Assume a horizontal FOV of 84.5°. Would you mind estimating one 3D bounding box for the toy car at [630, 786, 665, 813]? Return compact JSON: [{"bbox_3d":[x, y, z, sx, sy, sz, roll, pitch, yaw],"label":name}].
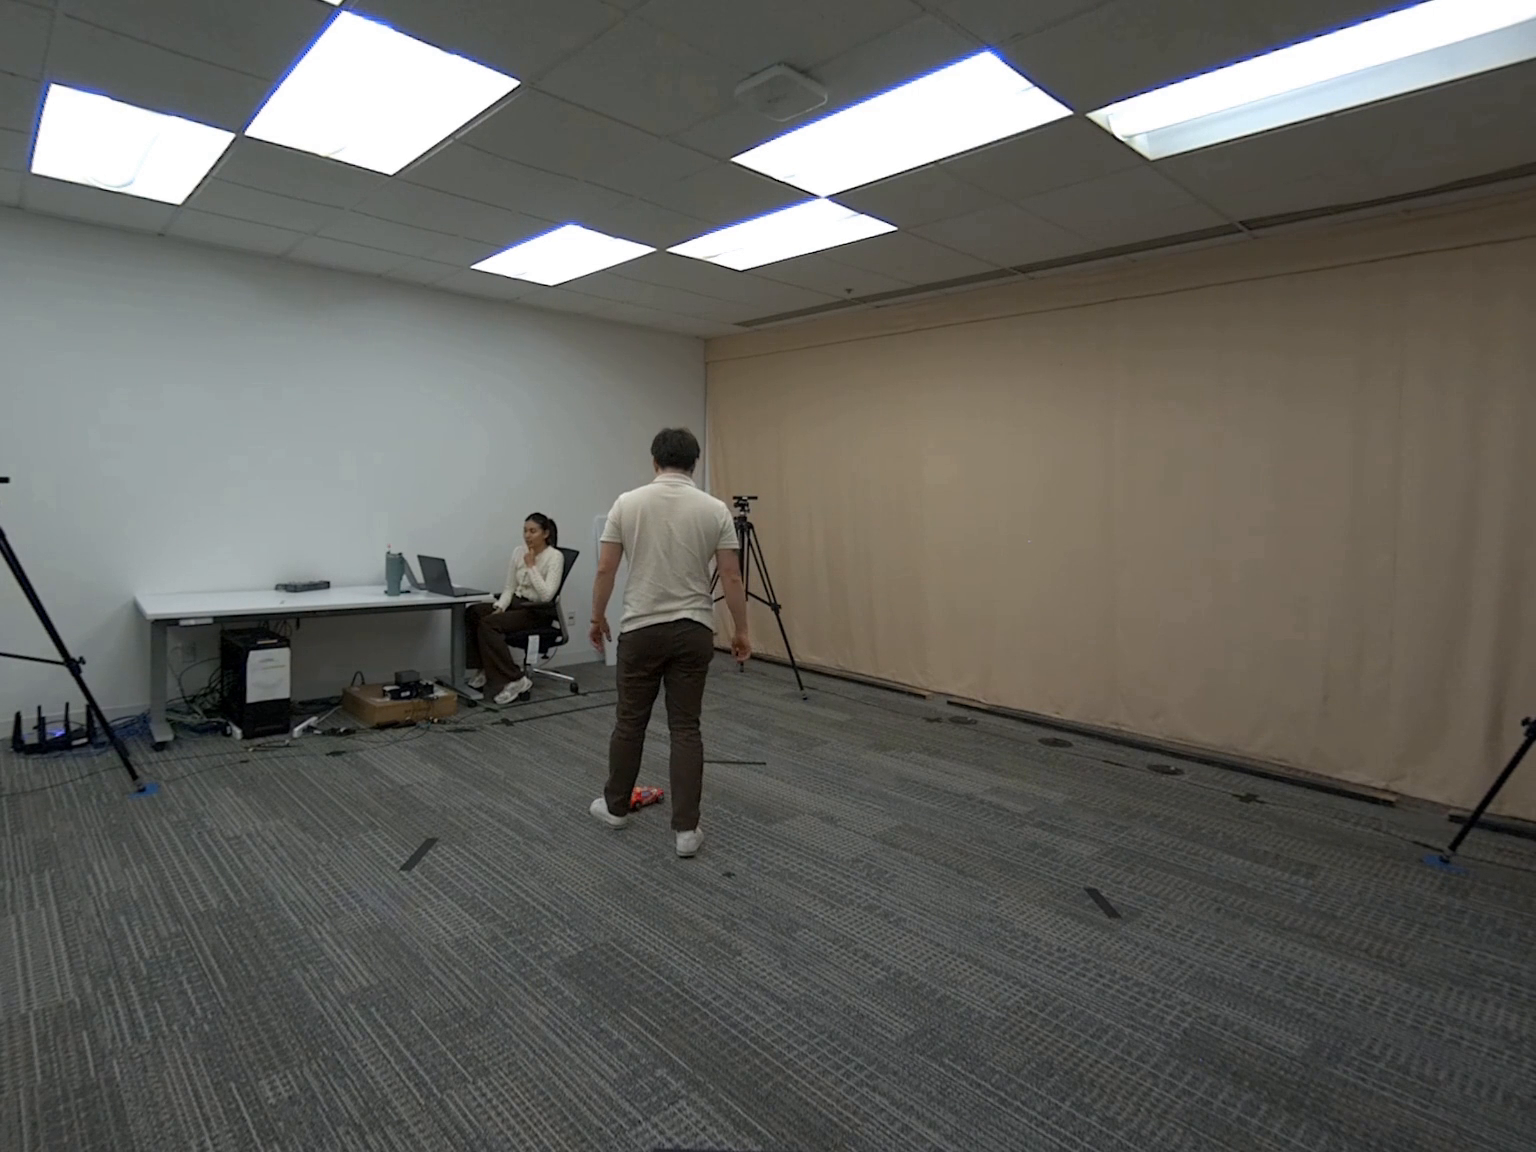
[{"bbox_3d":[-0.604,1.002,3.791,0.133,0.083,0.247,5,-5,40],"label":"toy car"}]
